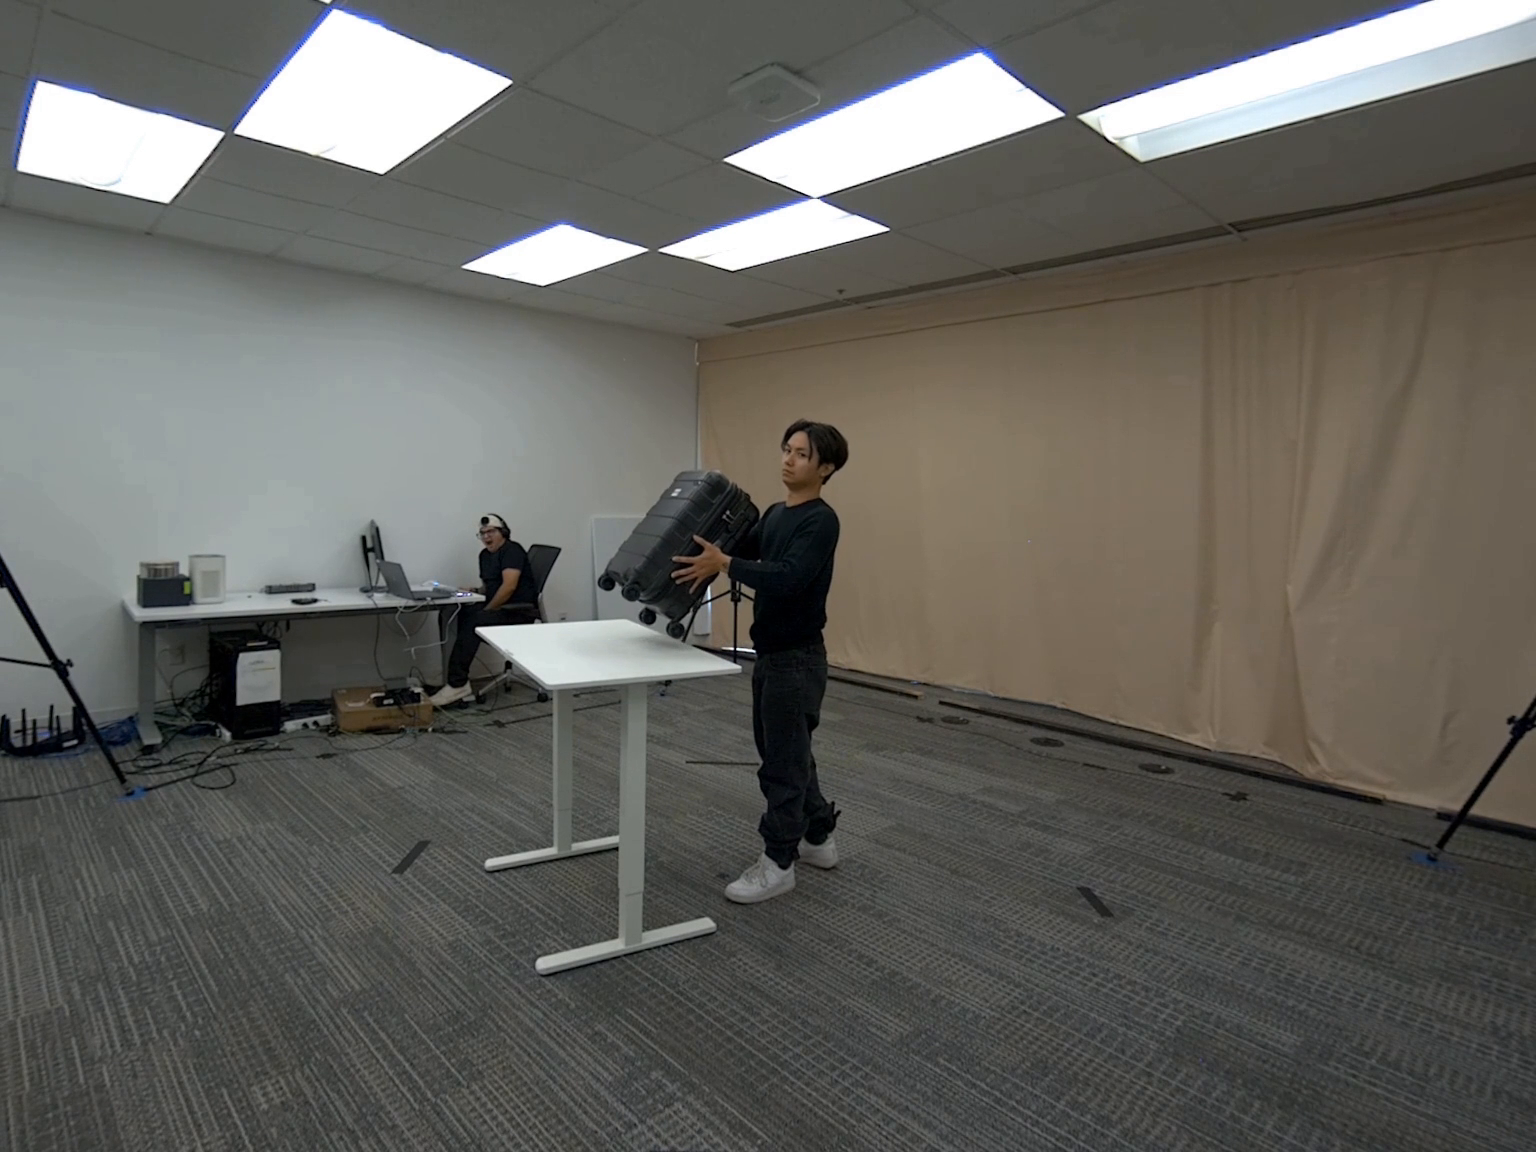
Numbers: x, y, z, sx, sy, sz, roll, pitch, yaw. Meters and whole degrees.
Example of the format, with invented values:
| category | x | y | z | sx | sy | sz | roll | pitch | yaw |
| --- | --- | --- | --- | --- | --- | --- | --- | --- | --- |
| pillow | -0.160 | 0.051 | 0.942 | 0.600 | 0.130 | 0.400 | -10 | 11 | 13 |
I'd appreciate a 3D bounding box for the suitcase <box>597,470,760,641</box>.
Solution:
| category | x | y | z | sx | sy | sz | roll | pitch | yaw |
| --- | --- | --- | --- | --- | --- | --- | --- | --- | --- |
| suitcase | -0.303 | -0.105 | 2.920 | 0.242 | 0.550 | 0.383 | 40 | -12 | -24 |
